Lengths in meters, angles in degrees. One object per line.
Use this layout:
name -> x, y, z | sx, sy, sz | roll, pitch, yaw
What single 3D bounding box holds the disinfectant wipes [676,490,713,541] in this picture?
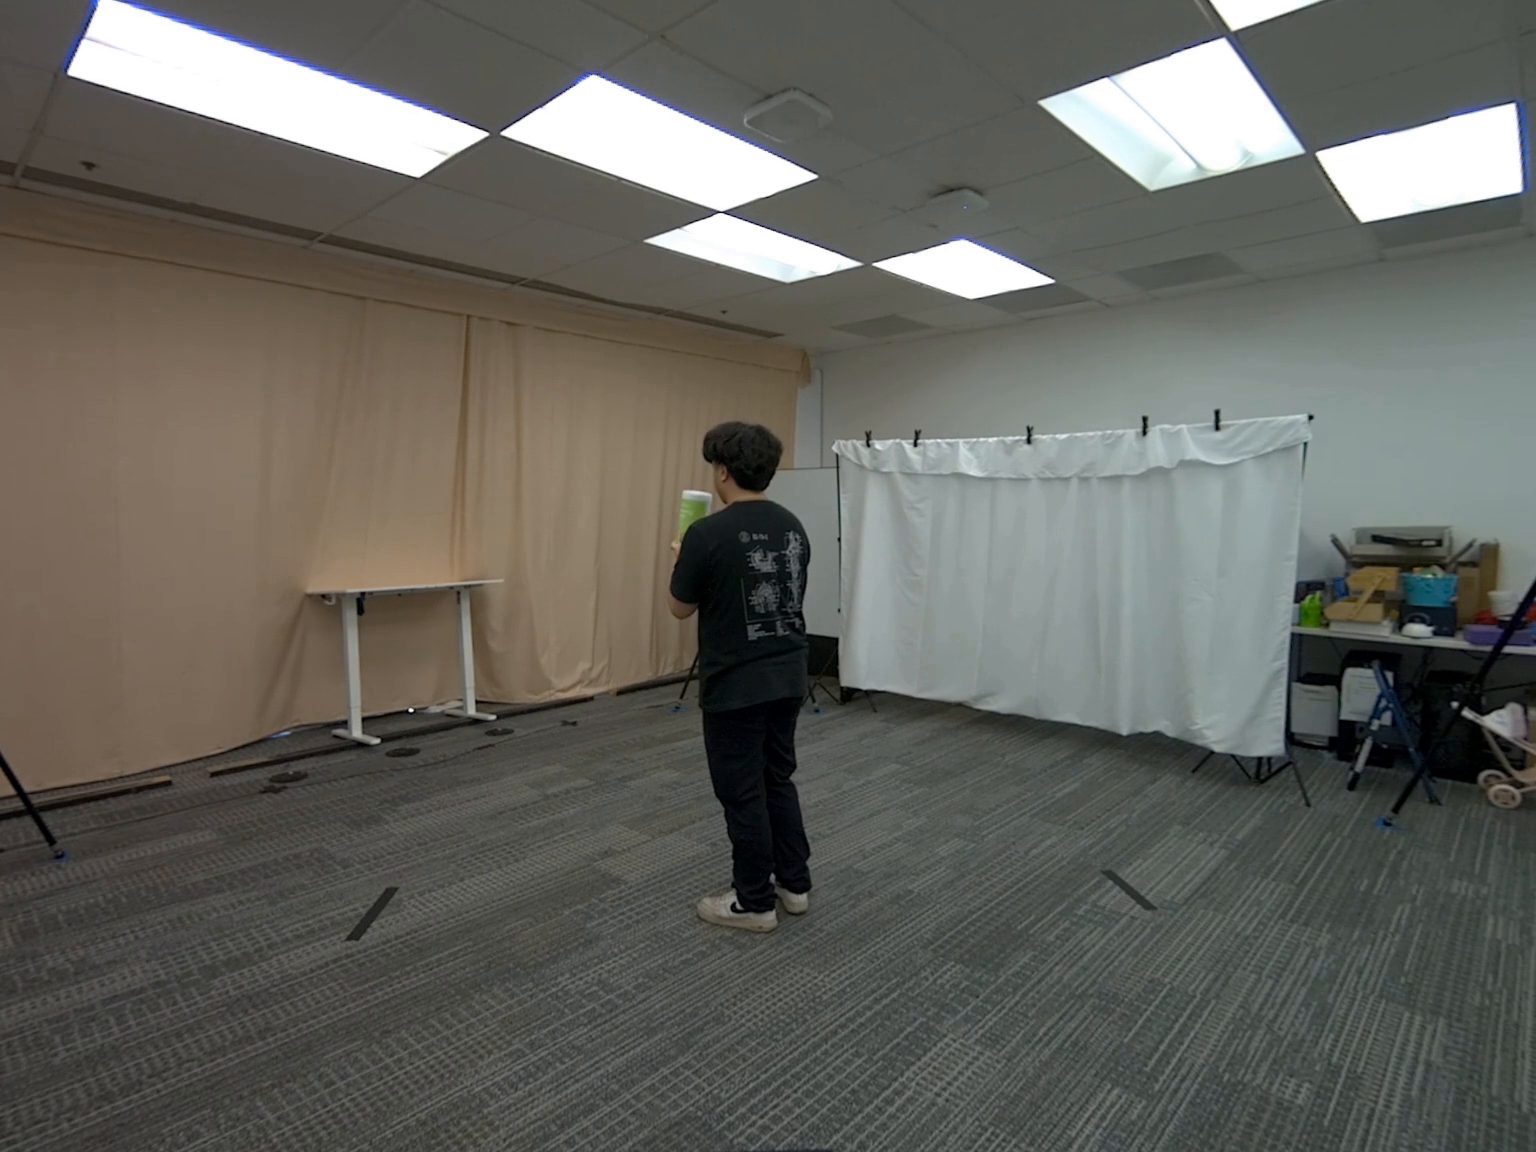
disinfectant wipes -> -0.266, -0.190, 3.058 | 0.117, 0.217, 0.118 | 10, 8, -3
